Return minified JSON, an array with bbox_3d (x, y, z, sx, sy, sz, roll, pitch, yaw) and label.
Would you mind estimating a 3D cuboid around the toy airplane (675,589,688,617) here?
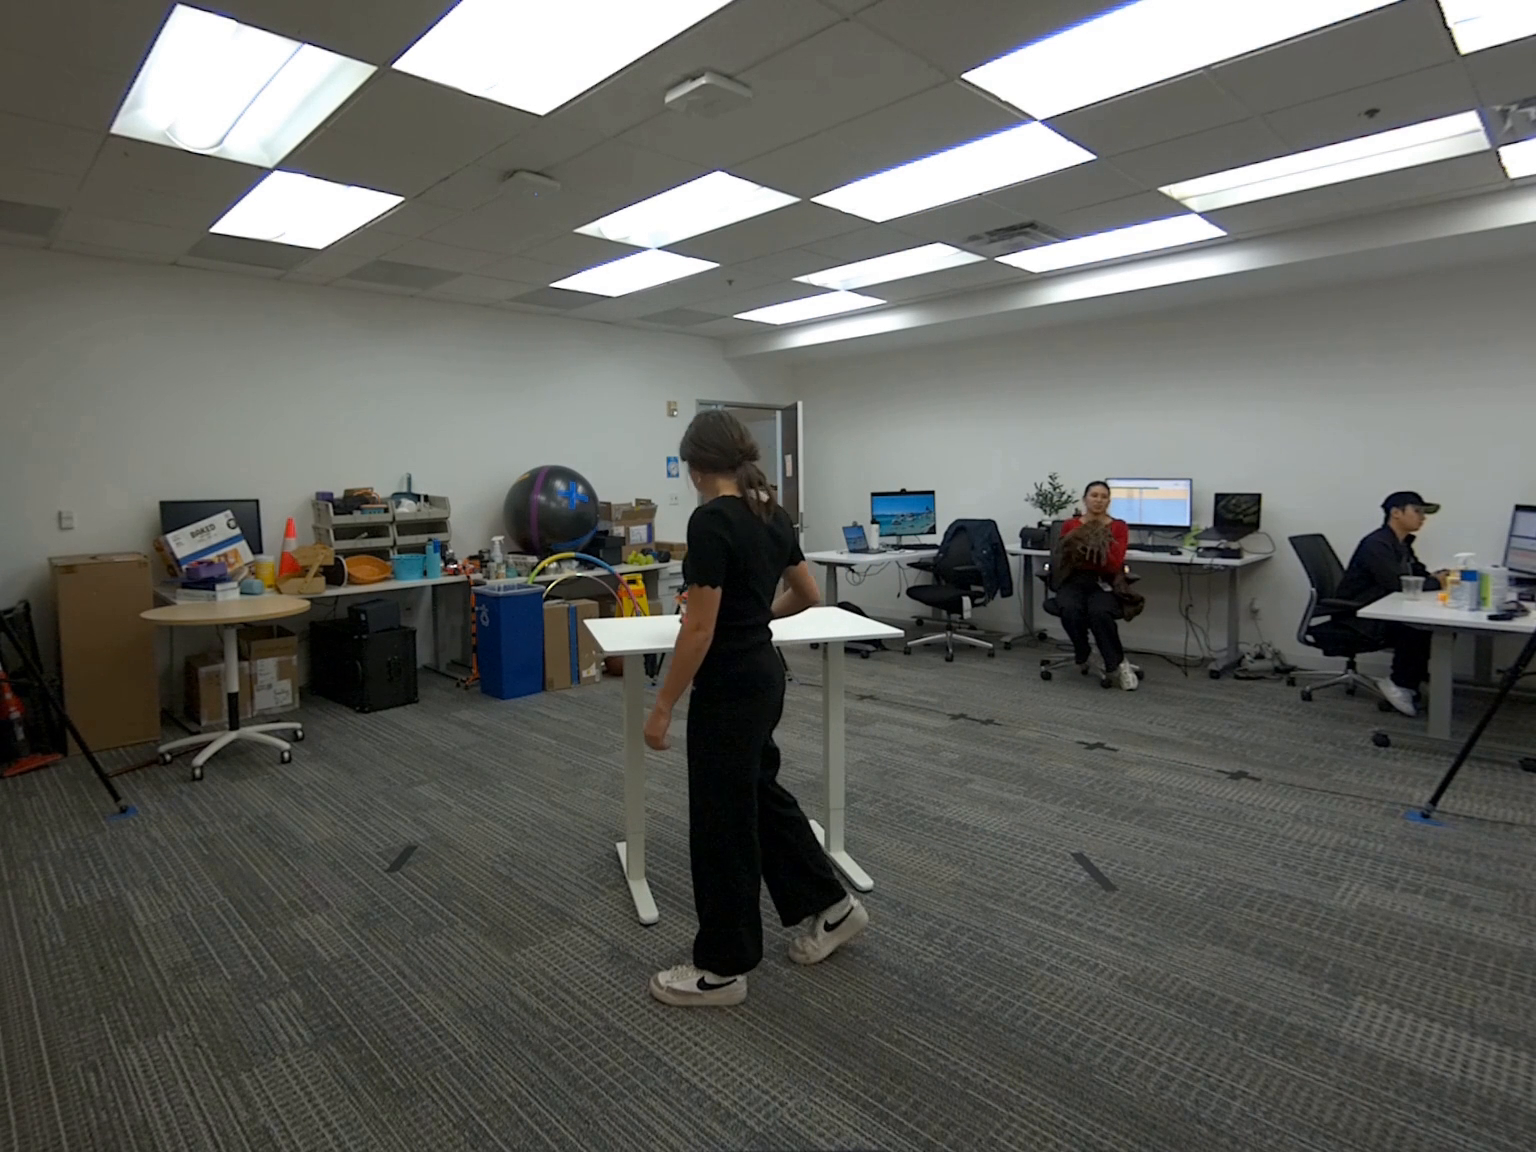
[{"bbox_3d":[-0.157,0.112,2.809,0.258,0.156,0.253,-7,4,-6],"label":"toy airplane"}]
